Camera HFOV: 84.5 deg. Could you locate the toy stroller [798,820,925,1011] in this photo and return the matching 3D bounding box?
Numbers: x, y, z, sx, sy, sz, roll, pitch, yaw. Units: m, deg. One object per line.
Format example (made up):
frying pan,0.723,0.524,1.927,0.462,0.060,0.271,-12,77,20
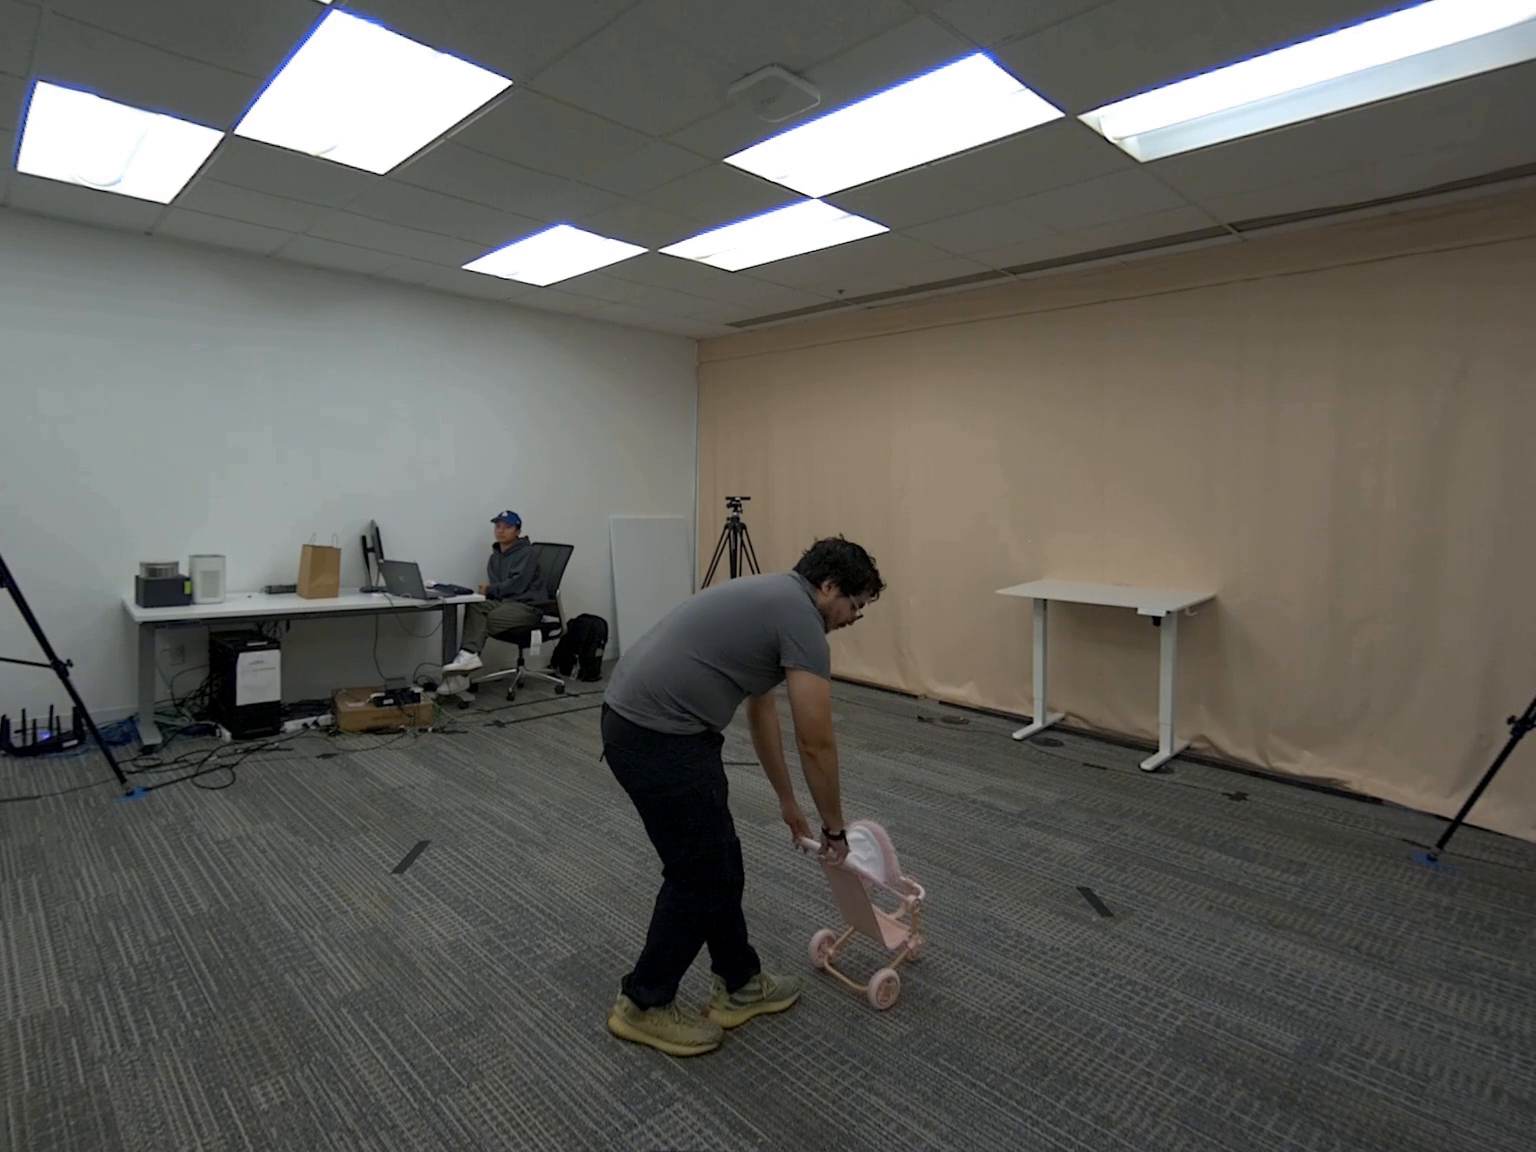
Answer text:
toy stroller,0.294,0.949,2.441,0.336,0.530,0.288,-17,12,-31
